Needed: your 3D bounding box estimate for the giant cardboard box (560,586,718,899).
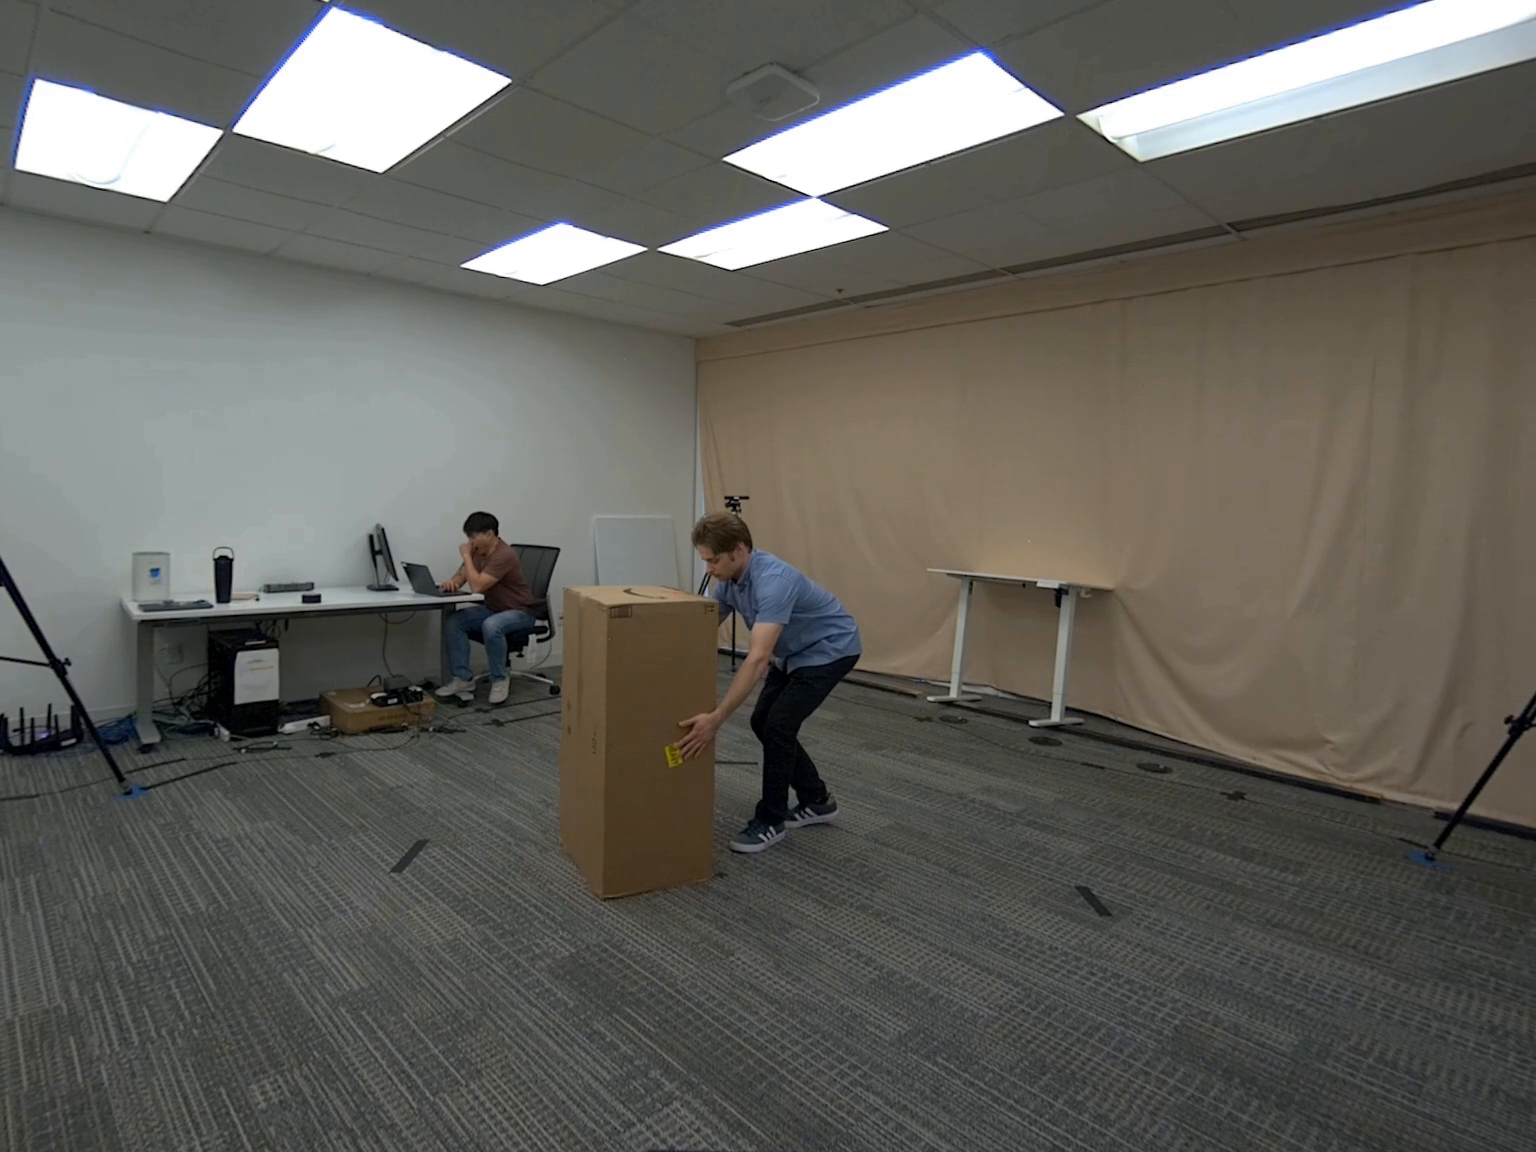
[{"bbox_3d":[-0.512,0.580,3.203,0.418,1.024,0.590,0,3,-28],"label":"giant cardboard box"}]
